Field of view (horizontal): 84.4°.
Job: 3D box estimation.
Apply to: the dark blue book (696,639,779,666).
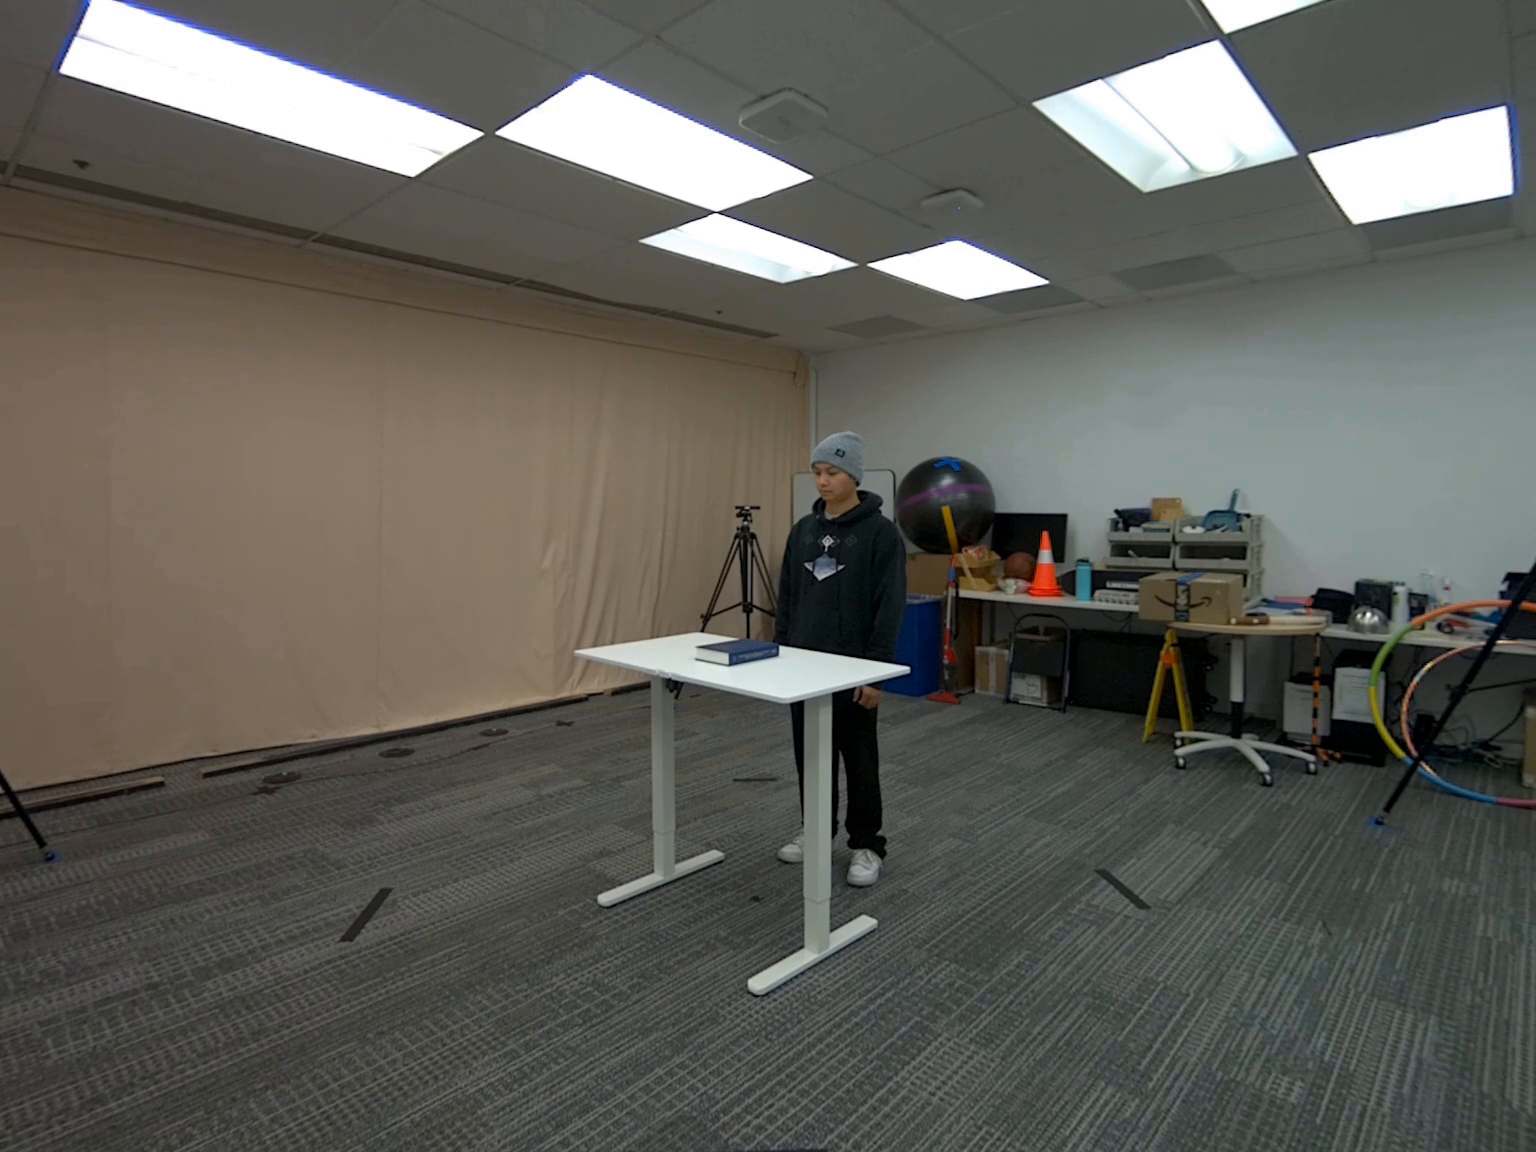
[{"bbox_3d":[-0.099,0.258,2.813,0.169,0.045,0.238,5,7,43],"label":"dark blue book"}]
